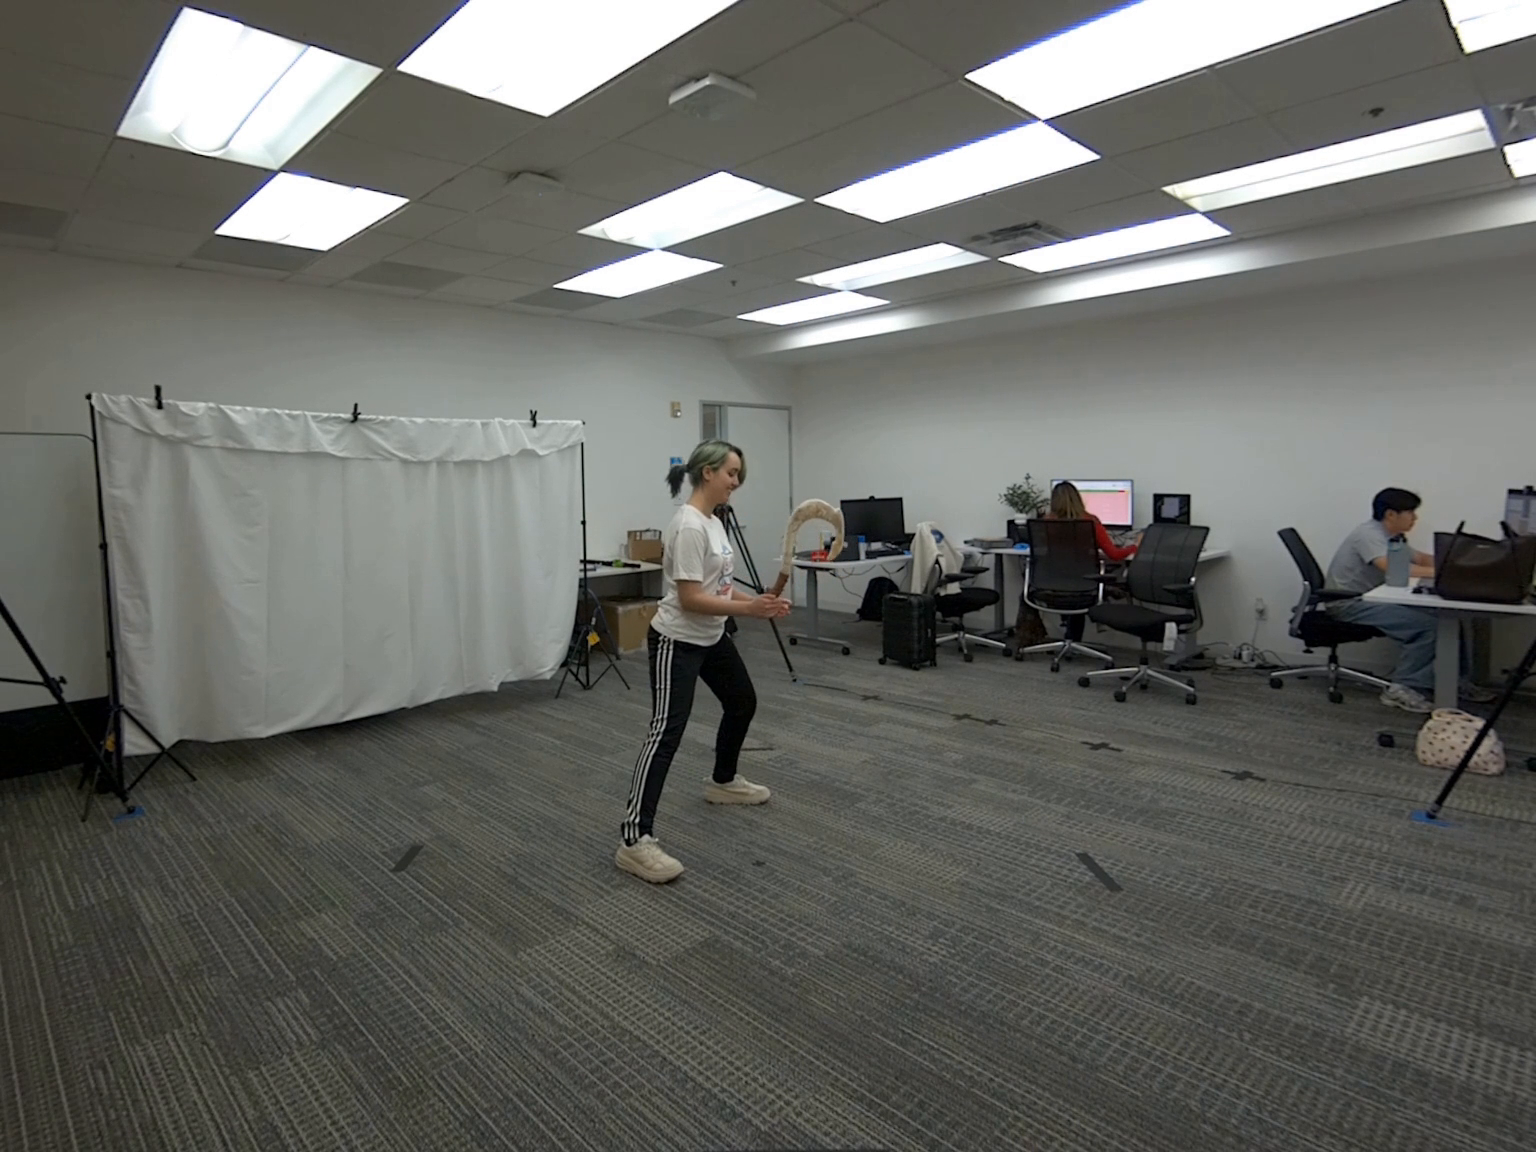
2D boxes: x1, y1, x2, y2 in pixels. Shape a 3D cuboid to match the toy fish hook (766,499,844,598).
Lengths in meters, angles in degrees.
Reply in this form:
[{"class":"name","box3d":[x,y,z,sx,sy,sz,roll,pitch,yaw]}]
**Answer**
[{"class":"toy fish hook","box3d":[0.125,-0.044,3.245,0.227,0.503,0.048,24,13,7]}]
